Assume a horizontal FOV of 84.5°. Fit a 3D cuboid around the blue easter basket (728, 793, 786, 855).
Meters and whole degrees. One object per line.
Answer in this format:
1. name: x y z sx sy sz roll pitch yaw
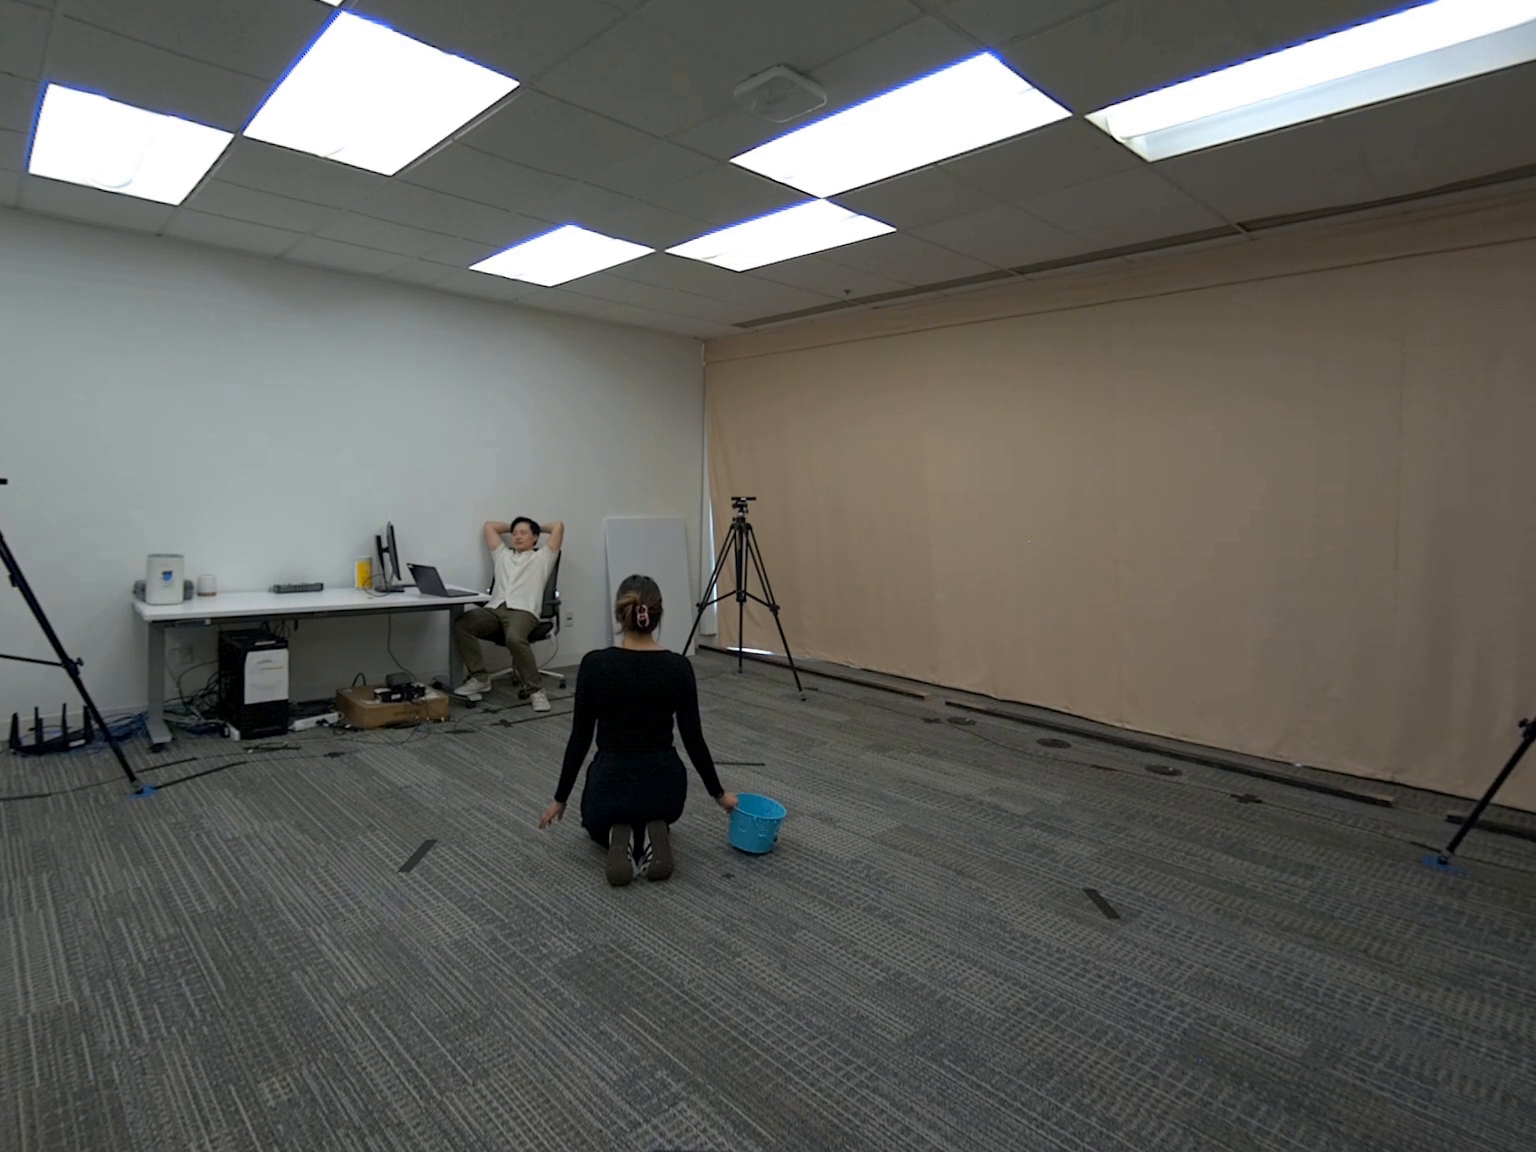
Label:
1. blue easter basket: -0.061 0.983 3.339 0.243 0.155 0.244 12 5 -2
